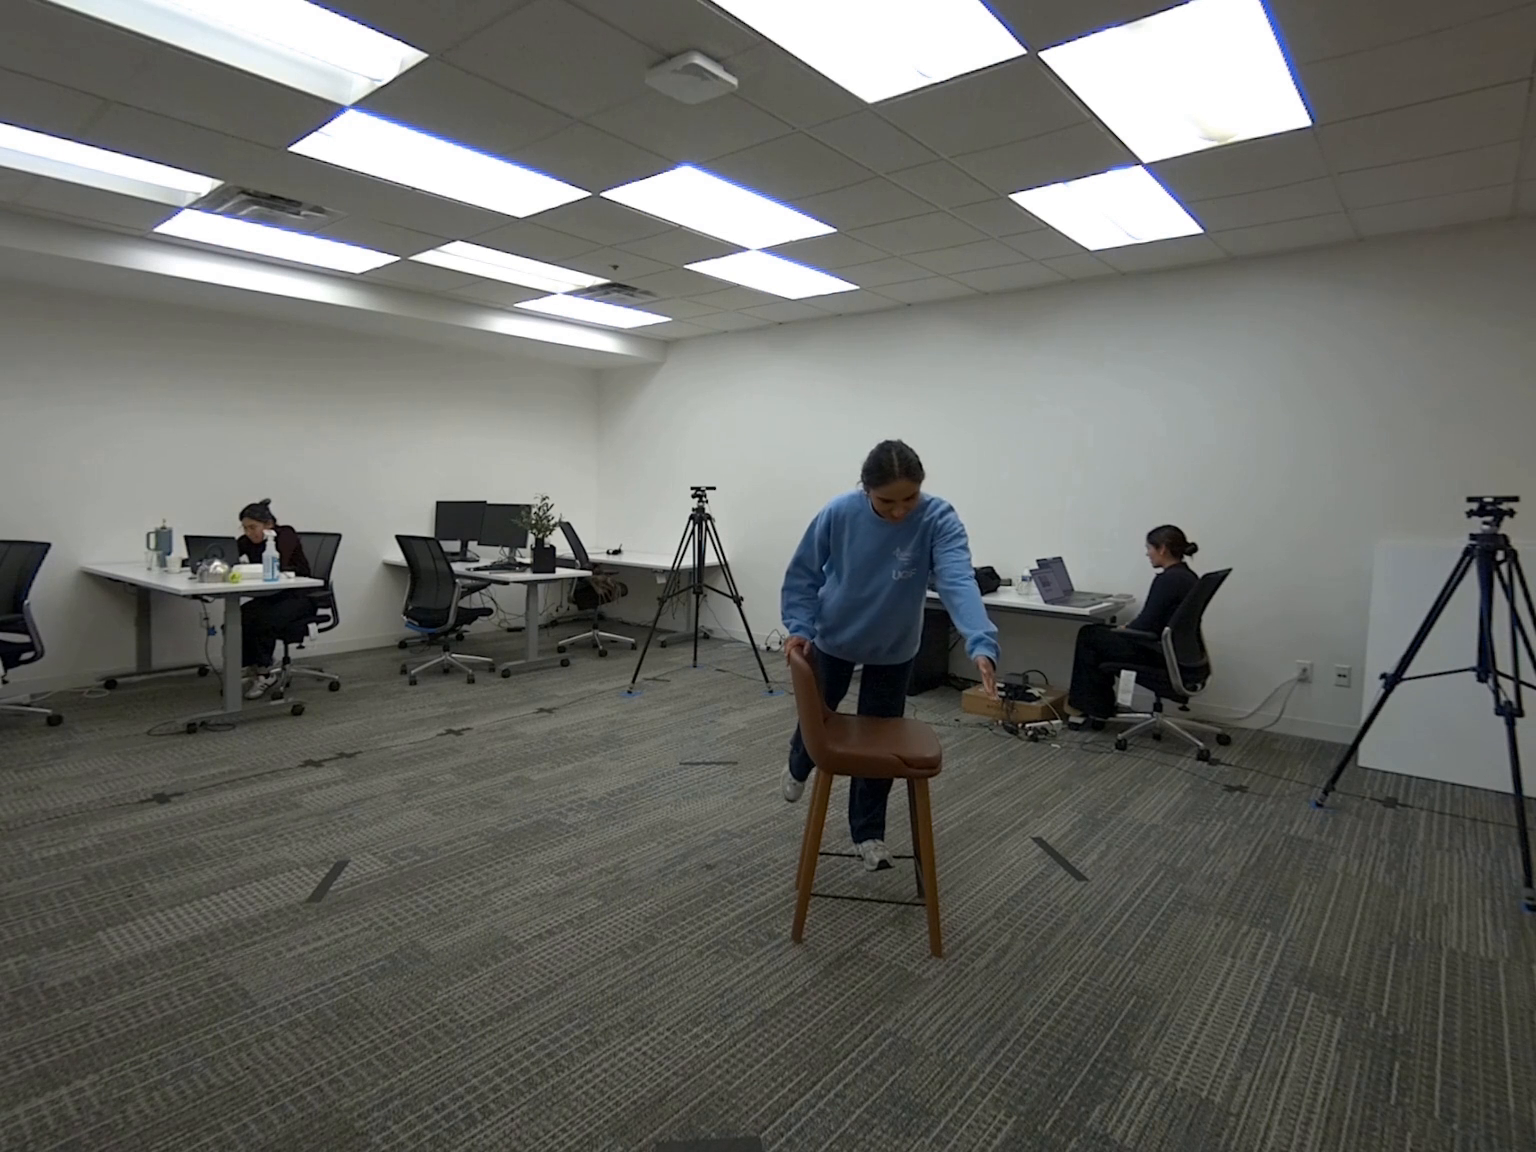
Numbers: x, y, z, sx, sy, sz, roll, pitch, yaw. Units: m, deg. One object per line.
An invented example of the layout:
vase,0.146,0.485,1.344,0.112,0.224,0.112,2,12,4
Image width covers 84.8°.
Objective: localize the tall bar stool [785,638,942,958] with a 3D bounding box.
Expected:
tall bar stool,0.310,0.677,2.743,0.471,0.887,0.454,0,3,6
